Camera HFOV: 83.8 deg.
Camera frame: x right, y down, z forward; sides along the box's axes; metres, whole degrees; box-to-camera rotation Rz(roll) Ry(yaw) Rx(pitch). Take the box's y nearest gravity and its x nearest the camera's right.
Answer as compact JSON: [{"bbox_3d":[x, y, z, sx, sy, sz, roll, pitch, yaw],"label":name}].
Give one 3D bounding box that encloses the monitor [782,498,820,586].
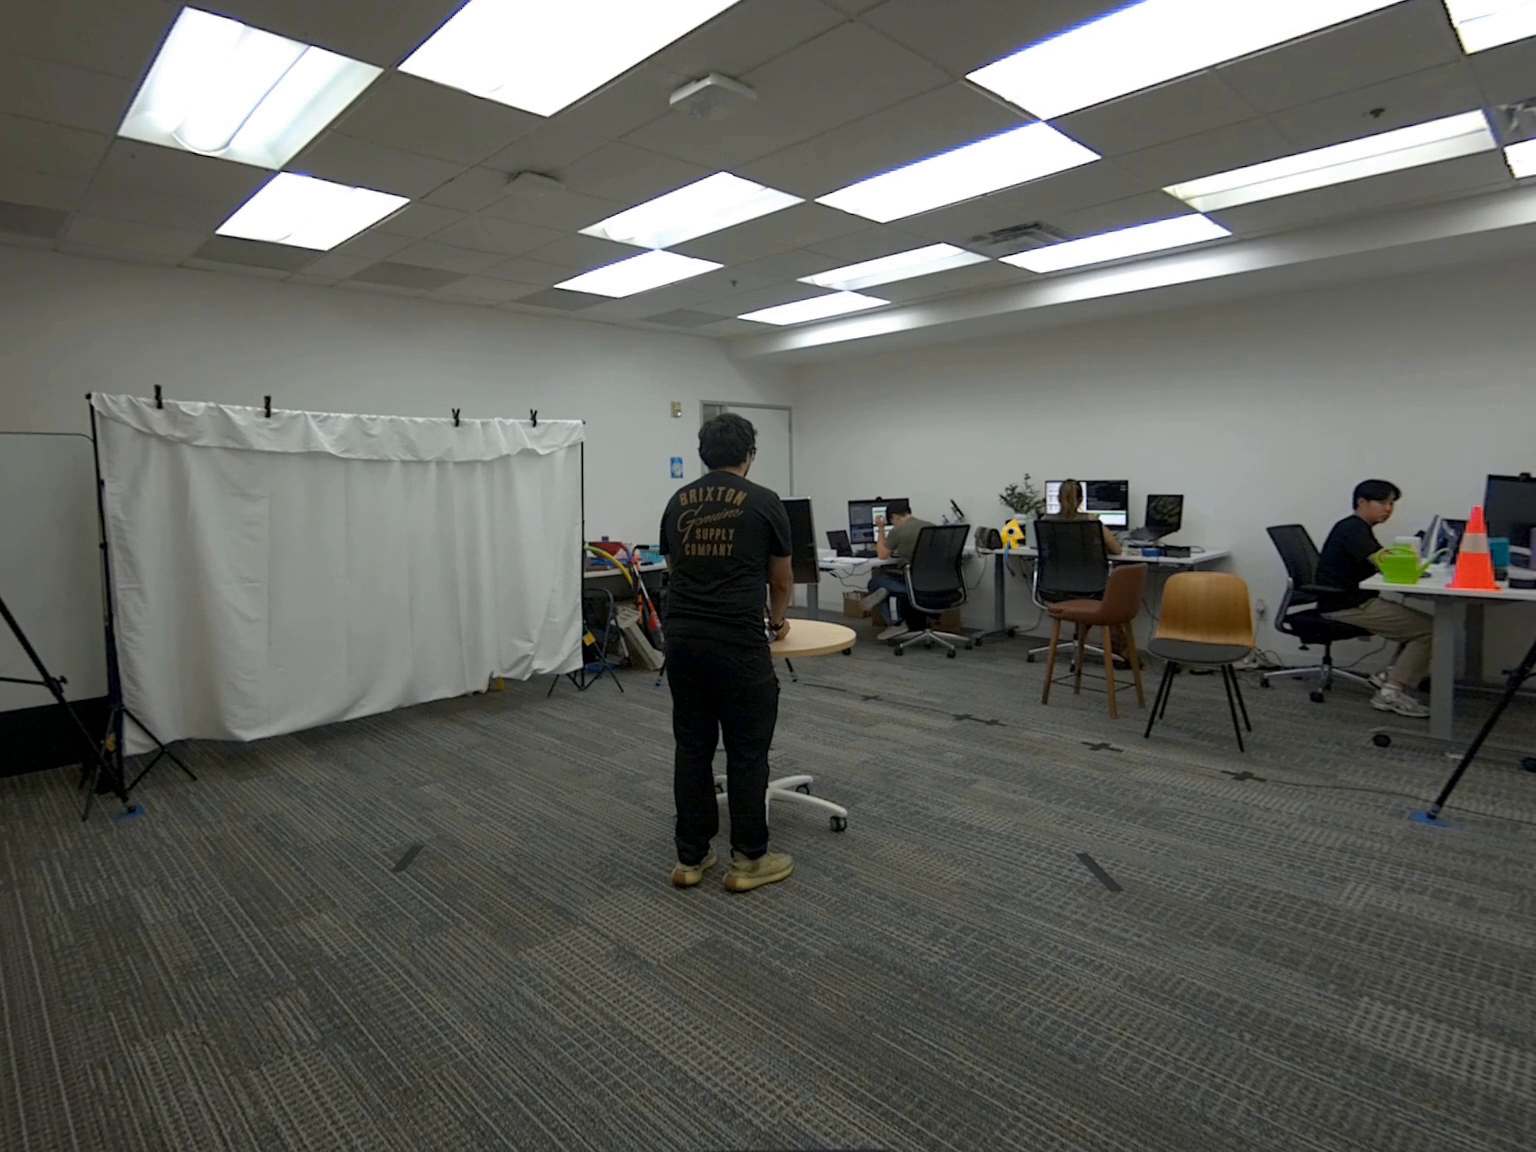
[{"bbox_3d":[-0.088,-0.021,3.274,0.575,0.544,0.210,1,18,18],"label":"monitor"}]
